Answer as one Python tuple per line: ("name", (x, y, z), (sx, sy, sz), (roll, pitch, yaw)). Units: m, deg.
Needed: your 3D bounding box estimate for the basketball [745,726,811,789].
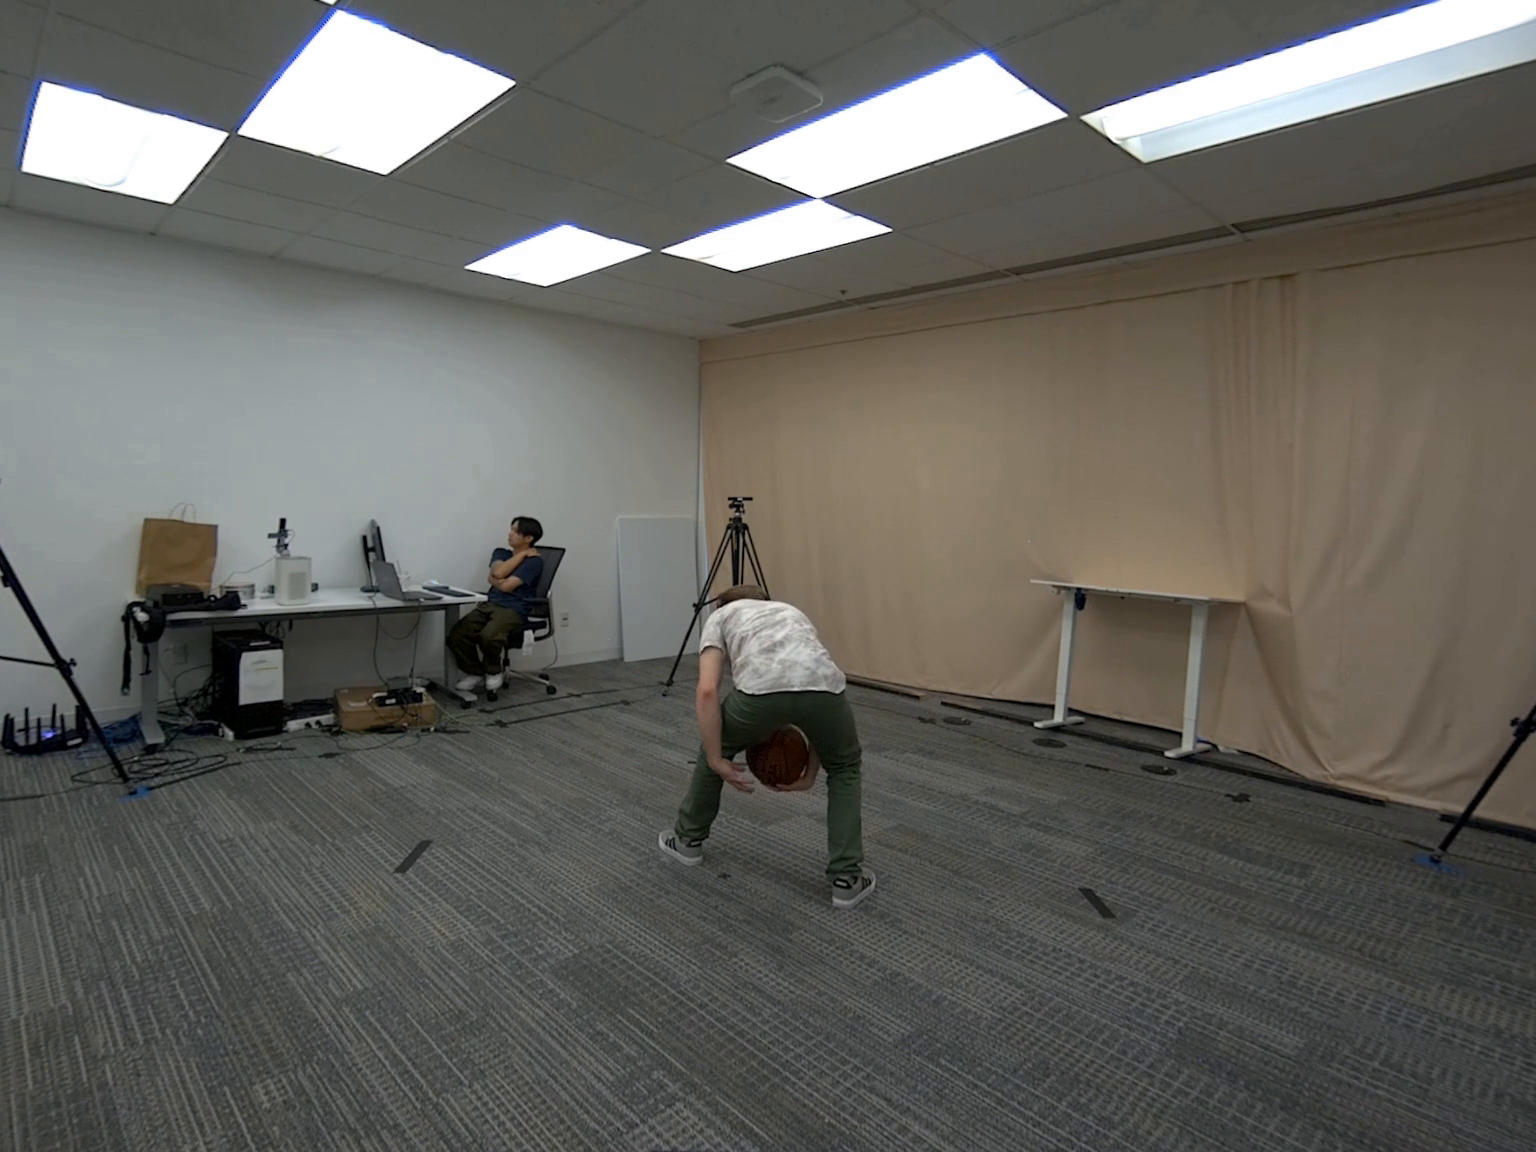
("basketball", (0.033, 0.672, 3.217), (0.236, 0.235, 0.237), (1, 4, -1))
